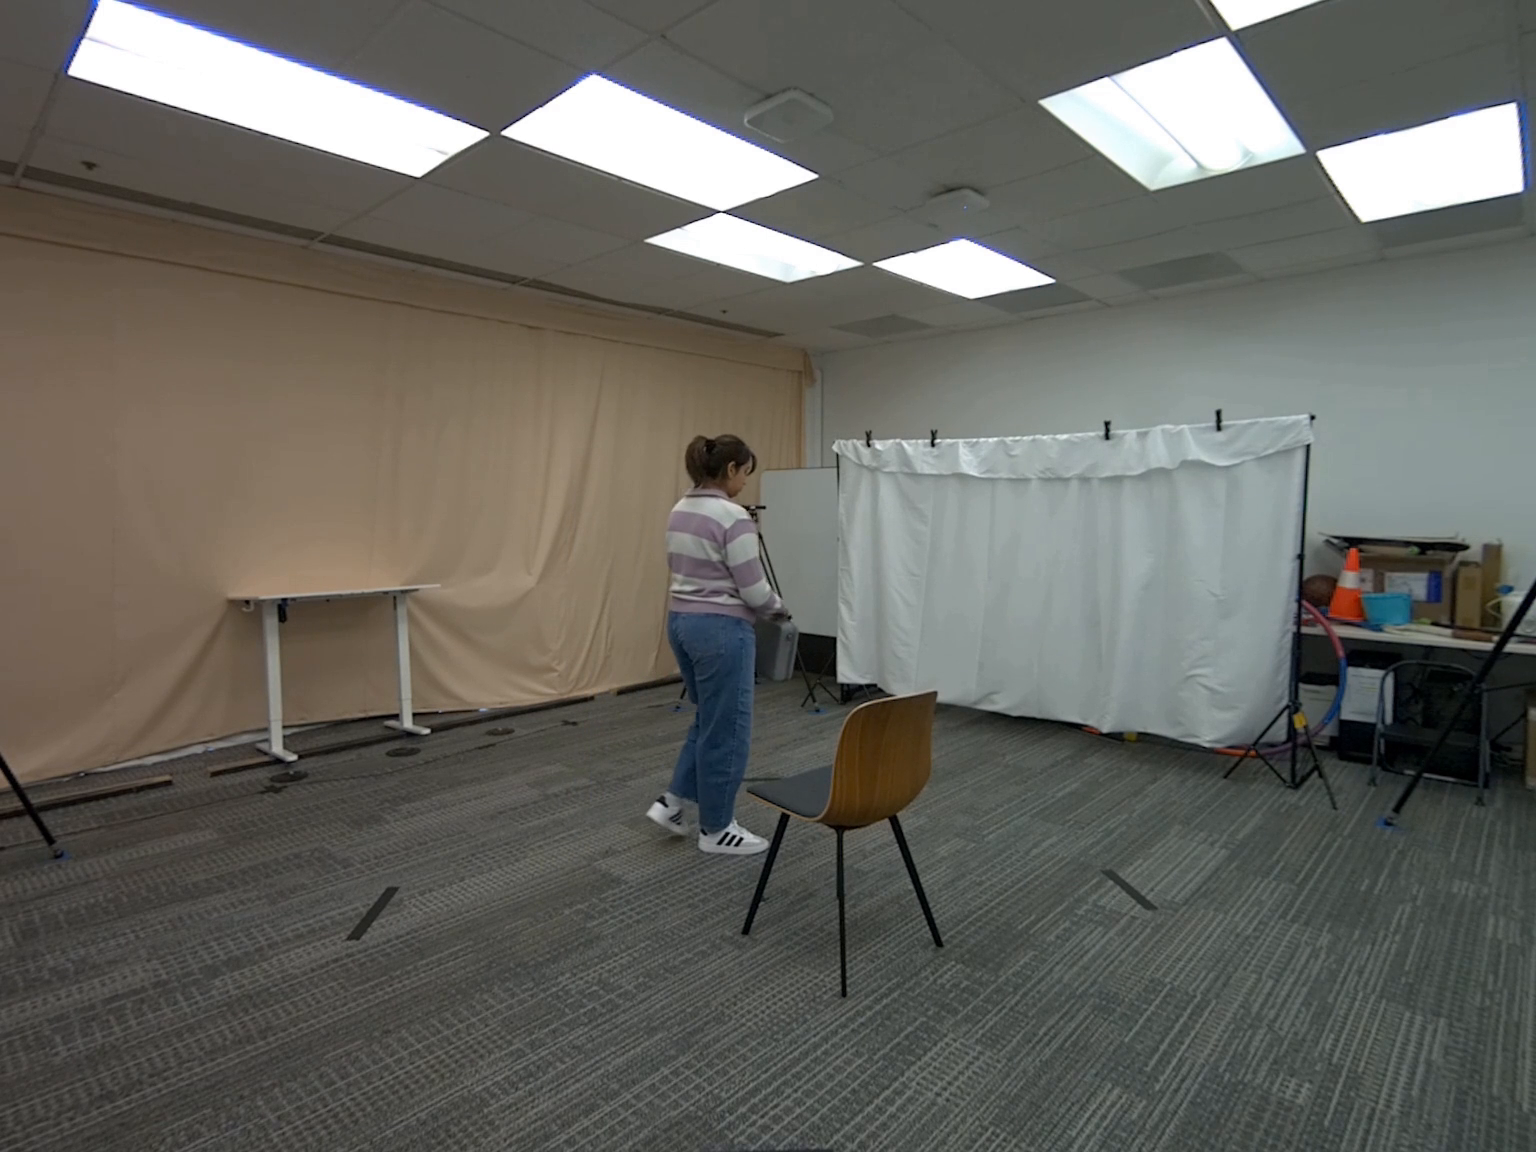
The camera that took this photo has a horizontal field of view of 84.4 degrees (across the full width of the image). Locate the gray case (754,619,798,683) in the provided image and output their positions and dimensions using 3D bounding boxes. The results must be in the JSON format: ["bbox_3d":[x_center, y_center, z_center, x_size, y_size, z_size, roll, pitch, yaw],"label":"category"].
[{"bbox_3d":[0.004,0.290,3.535,0.101,0.259,0.266,1,11,-38],"label":"gray case"}]
